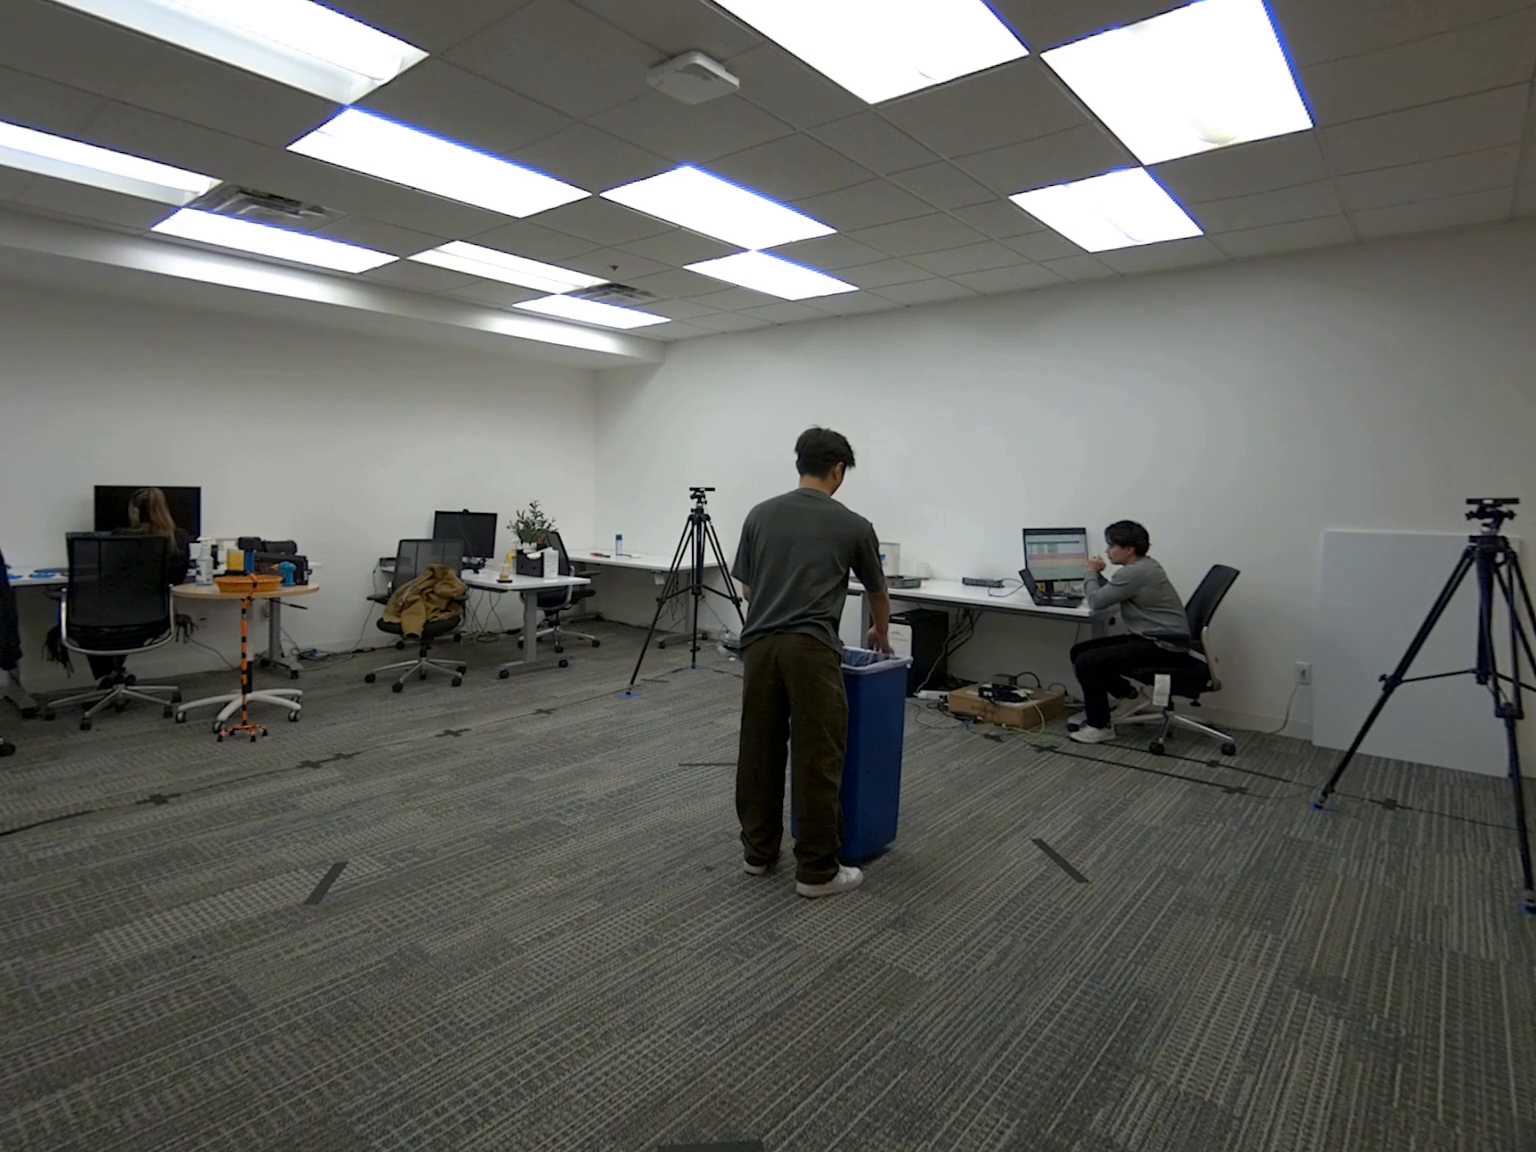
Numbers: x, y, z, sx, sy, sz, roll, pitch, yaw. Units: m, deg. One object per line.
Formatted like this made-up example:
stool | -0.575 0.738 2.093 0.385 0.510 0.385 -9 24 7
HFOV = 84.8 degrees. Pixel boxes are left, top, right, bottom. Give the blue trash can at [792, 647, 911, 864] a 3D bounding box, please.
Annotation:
blue trash can | 0.296 0.660 3.294 0.391 0.713 0.362 3 2 41
